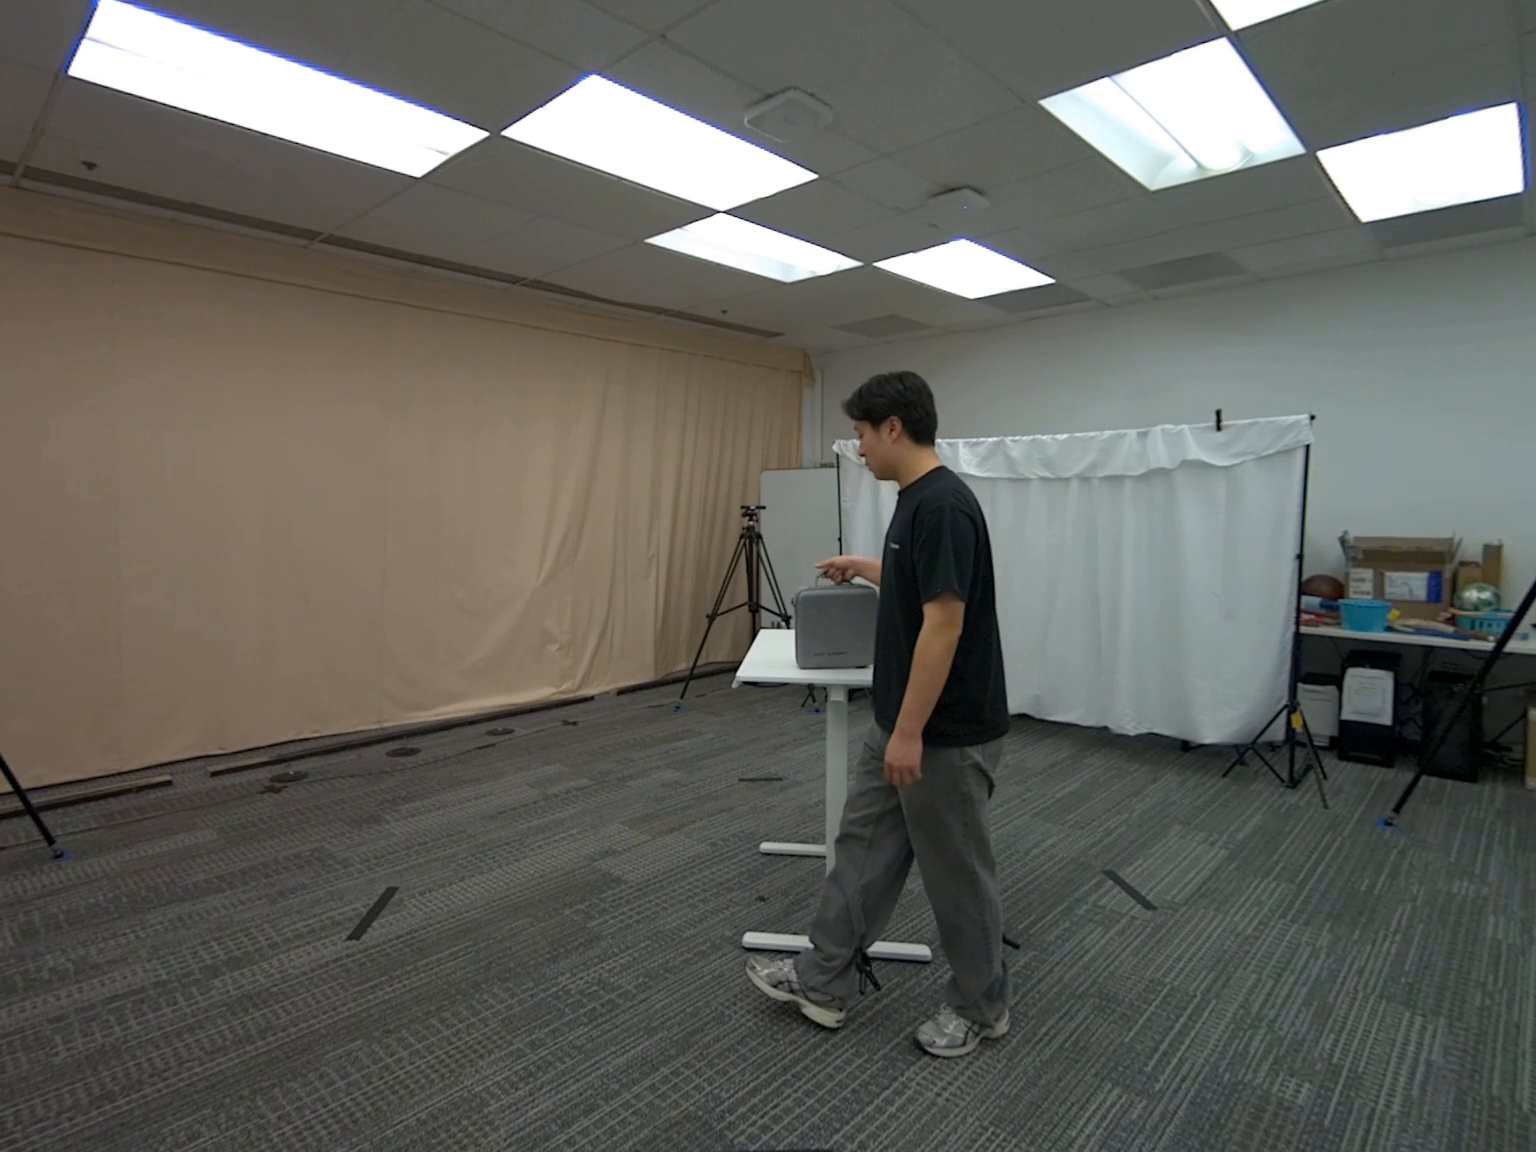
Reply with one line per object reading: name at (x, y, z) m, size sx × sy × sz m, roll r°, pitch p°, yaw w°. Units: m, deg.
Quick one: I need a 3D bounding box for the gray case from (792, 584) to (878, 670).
gray case at (0.211, 0.146, 2.611) m, size 0.262 × 0.285 × 0.104 m, roll 0°, pitch 9°, yaw -3°
